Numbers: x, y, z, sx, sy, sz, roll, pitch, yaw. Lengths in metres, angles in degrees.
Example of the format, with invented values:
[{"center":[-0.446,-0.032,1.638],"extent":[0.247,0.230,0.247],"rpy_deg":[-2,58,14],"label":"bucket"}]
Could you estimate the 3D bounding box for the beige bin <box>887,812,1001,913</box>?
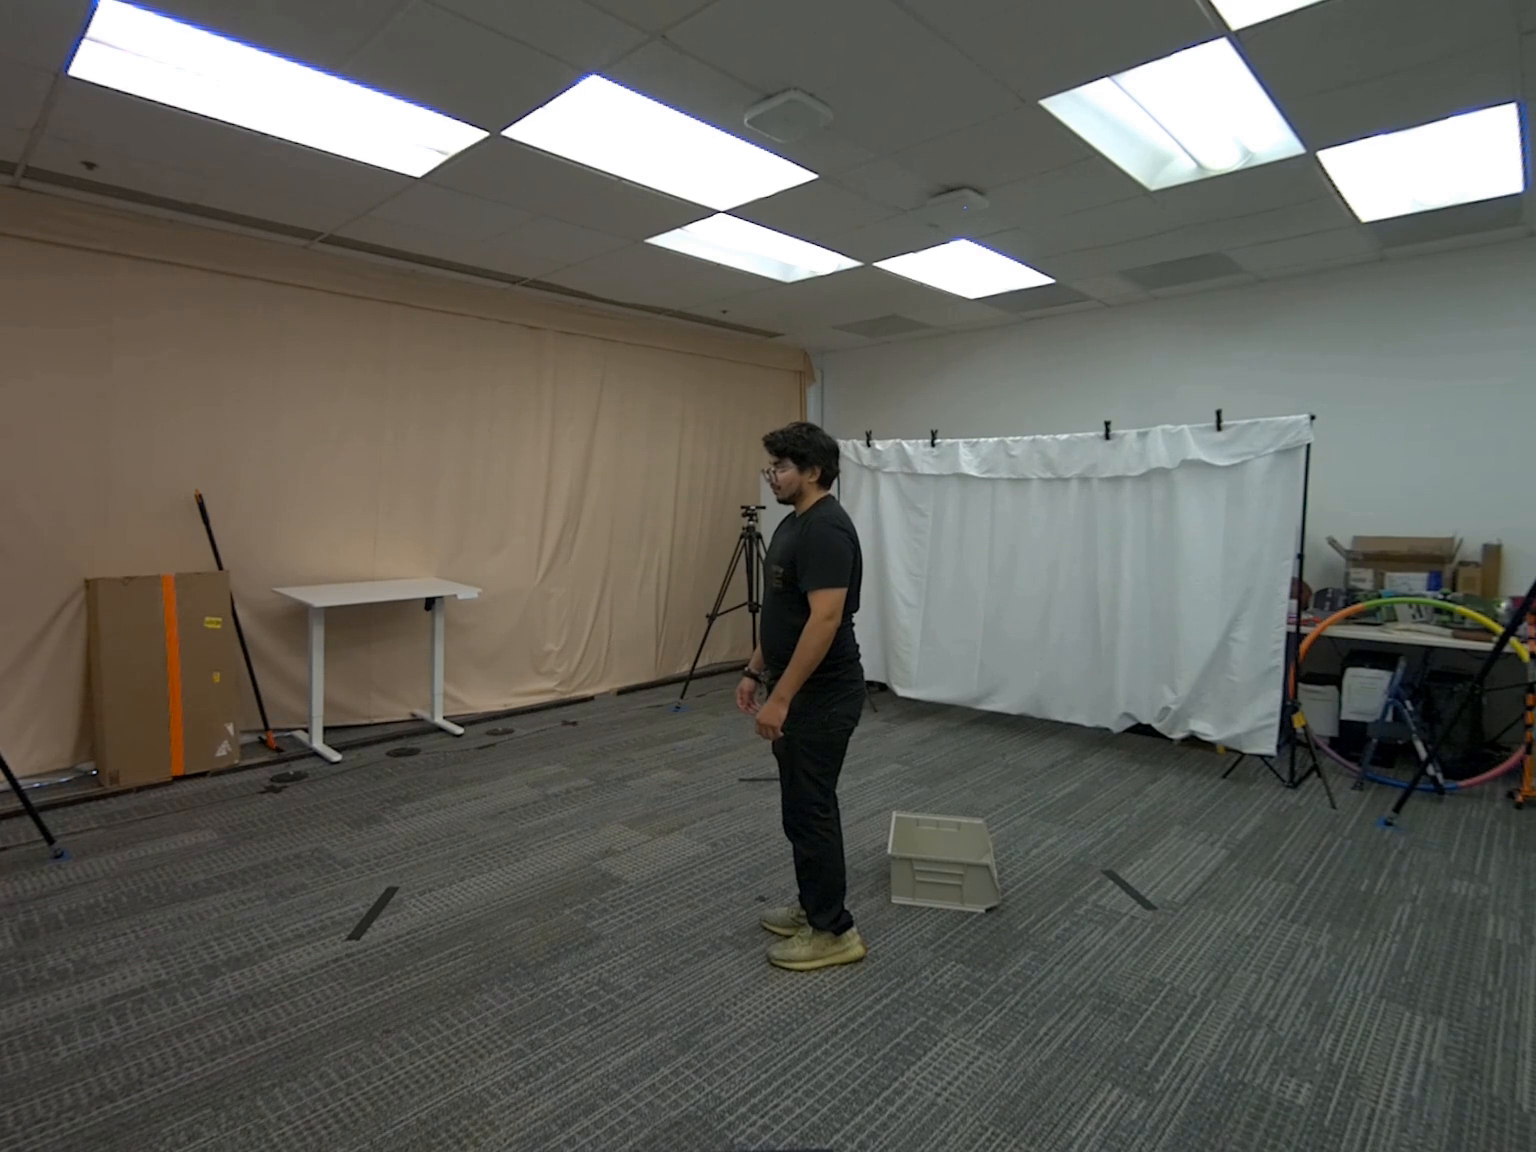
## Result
[{"center":[0.650,1.044,3.099],"extent":[0.383,0.188,0.417],"rpy_deg":[0,5,12],"label":"beige bin"}]
